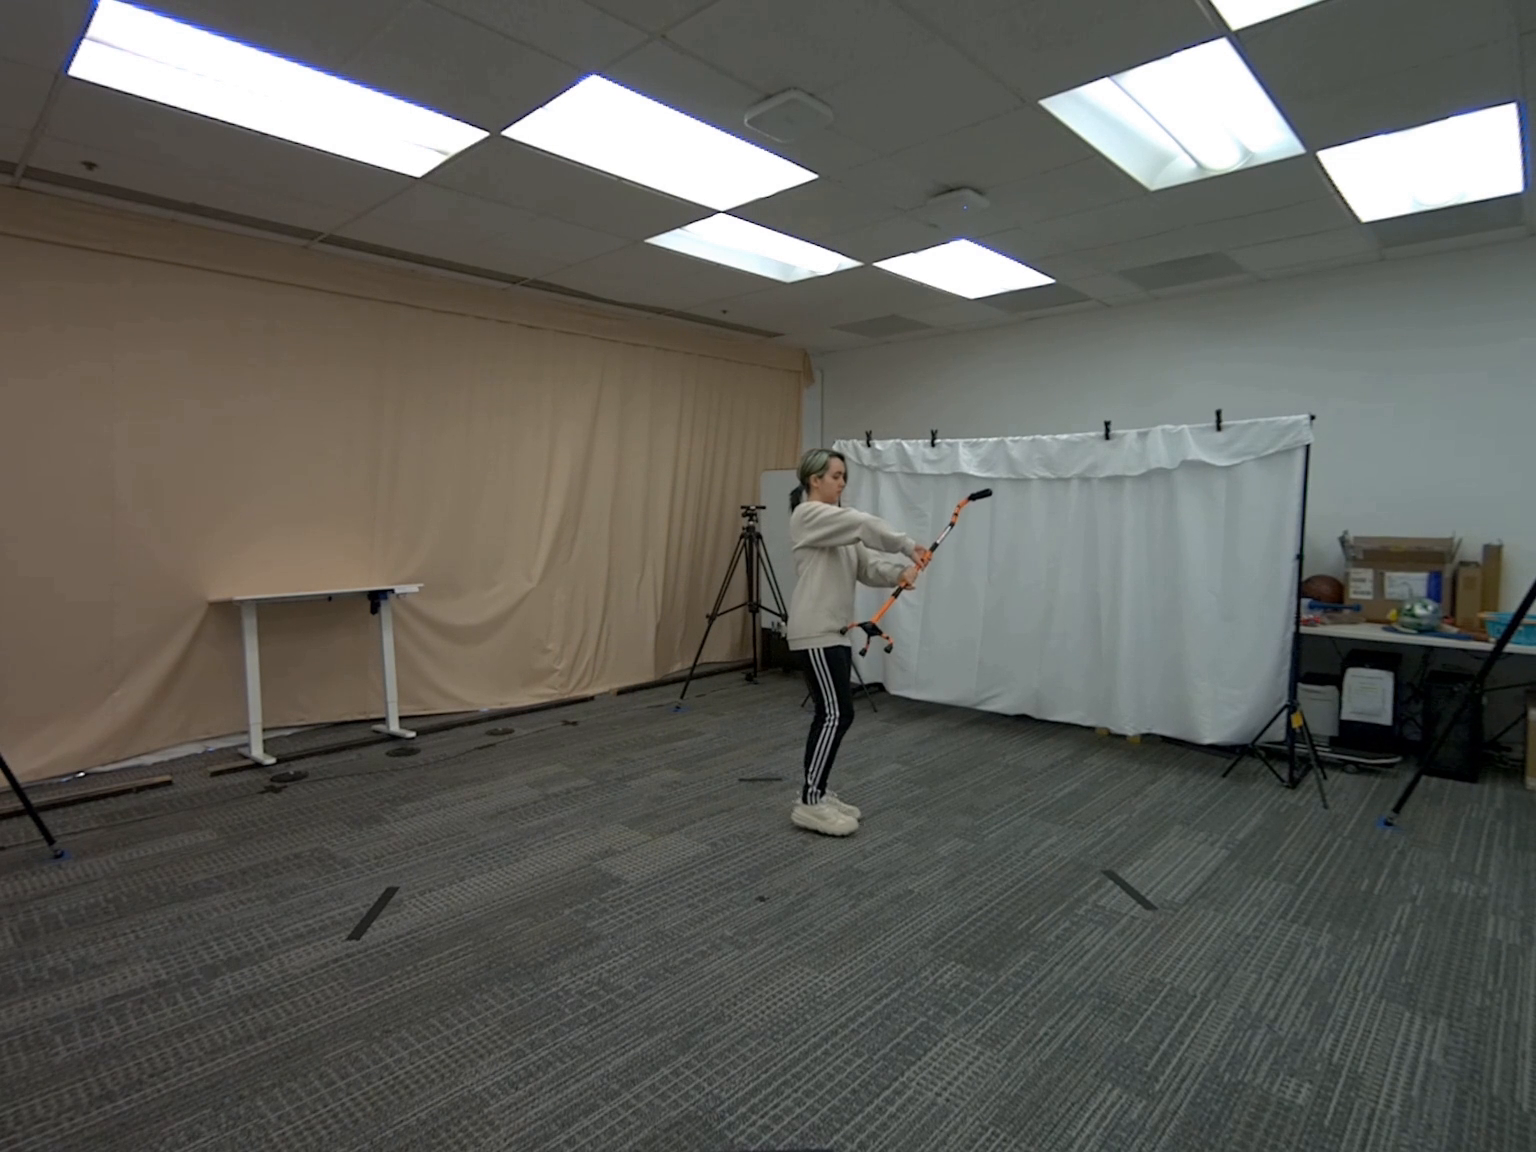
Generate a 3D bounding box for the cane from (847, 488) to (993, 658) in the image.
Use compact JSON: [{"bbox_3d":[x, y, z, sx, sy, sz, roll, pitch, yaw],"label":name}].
[{"bbox_3d":[0.656,-0.042,3.516,0.902,0.149,0.210,-49,14,-25],"label":"cane"}]
